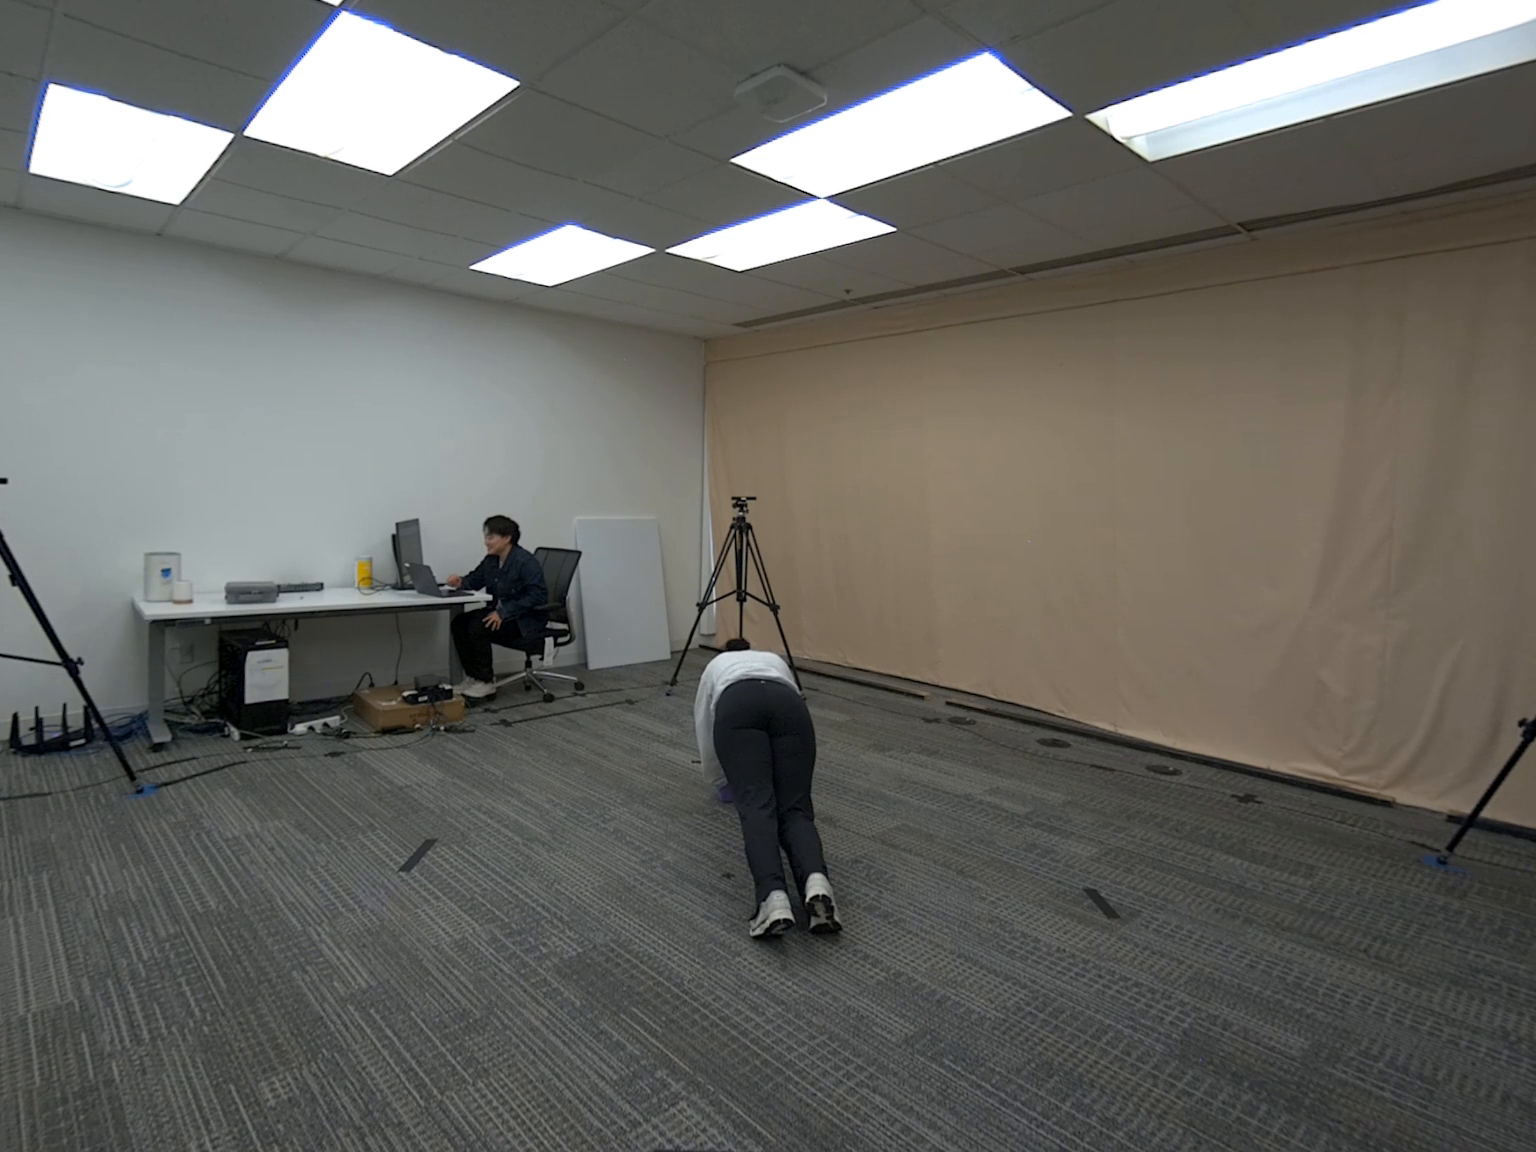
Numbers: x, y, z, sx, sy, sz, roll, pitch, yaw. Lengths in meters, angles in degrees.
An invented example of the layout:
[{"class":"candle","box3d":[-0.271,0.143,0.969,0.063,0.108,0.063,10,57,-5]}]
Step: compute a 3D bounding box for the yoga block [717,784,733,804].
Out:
[{"class":"yoga block","box3d":[-0.129,1.004,3.946,0.227,0.076,0.151,0,4,-12]}]
